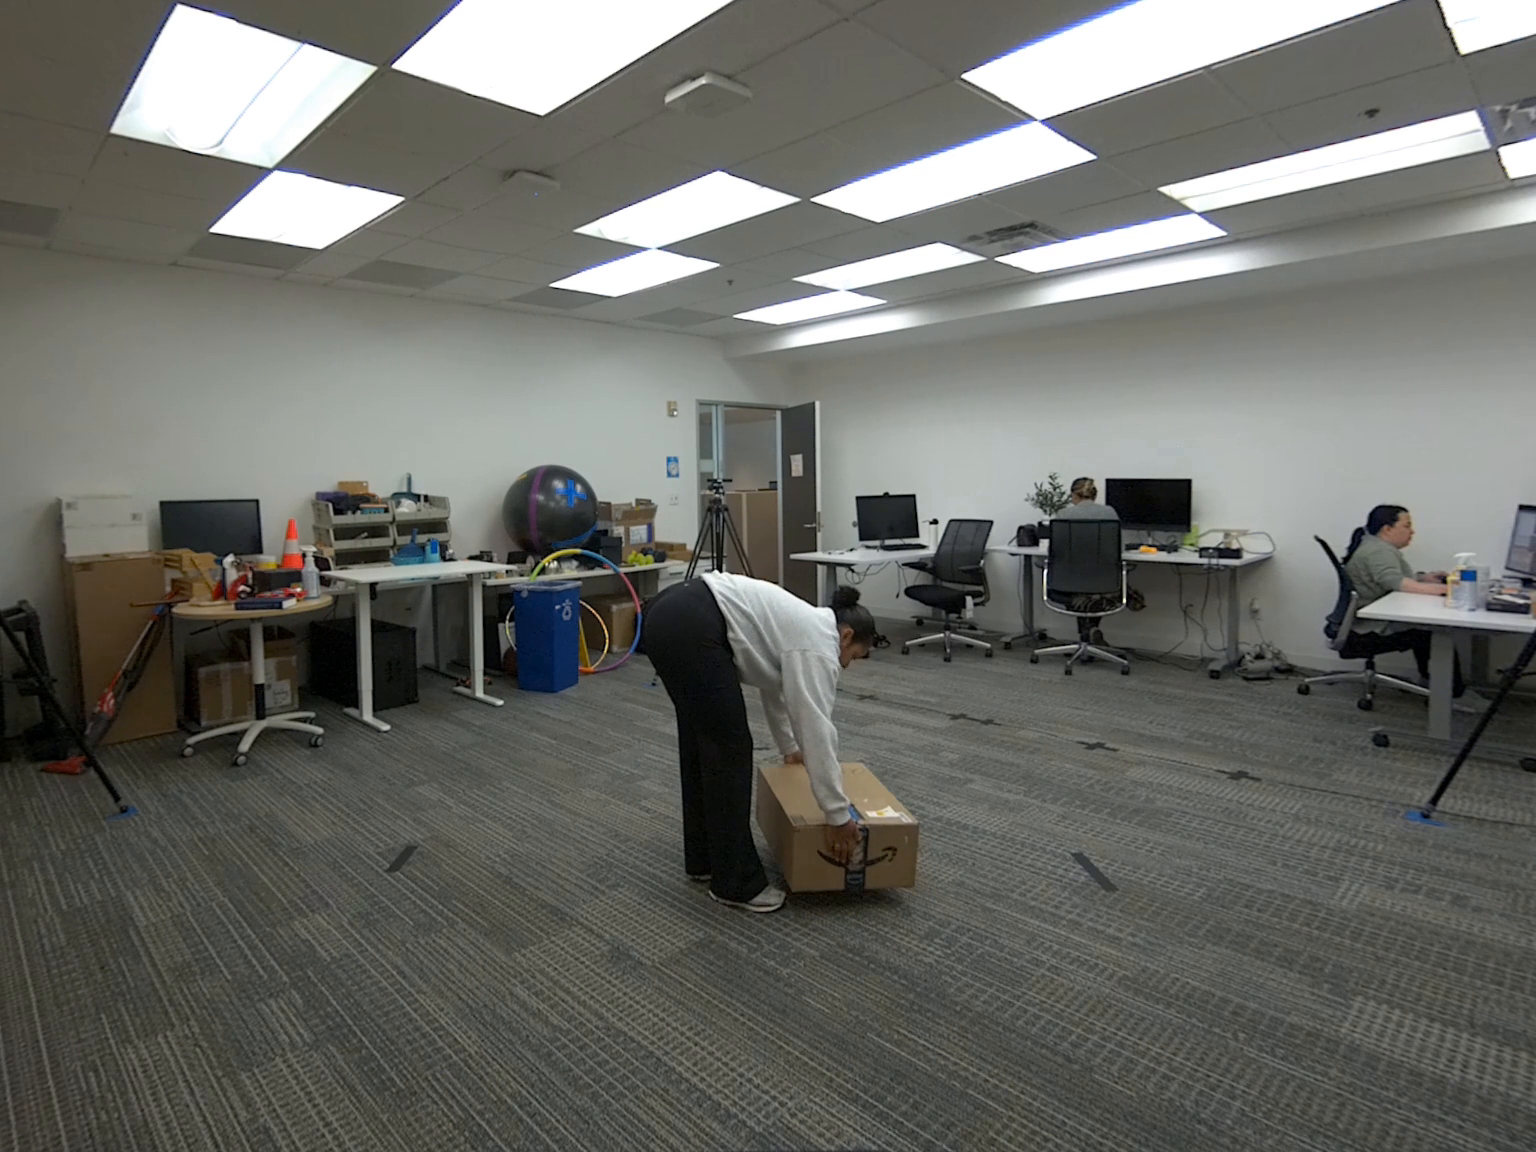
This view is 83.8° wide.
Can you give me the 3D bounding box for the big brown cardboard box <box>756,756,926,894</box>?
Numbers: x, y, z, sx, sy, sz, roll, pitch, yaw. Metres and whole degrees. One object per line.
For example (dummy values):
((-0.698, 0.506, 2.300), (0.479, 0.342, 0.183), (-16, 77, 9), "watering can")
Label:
((0.227, 0.843, 2.991), (0.413, 0.232, 0.598), (1, 6, -12), "big brown cardboard box")
